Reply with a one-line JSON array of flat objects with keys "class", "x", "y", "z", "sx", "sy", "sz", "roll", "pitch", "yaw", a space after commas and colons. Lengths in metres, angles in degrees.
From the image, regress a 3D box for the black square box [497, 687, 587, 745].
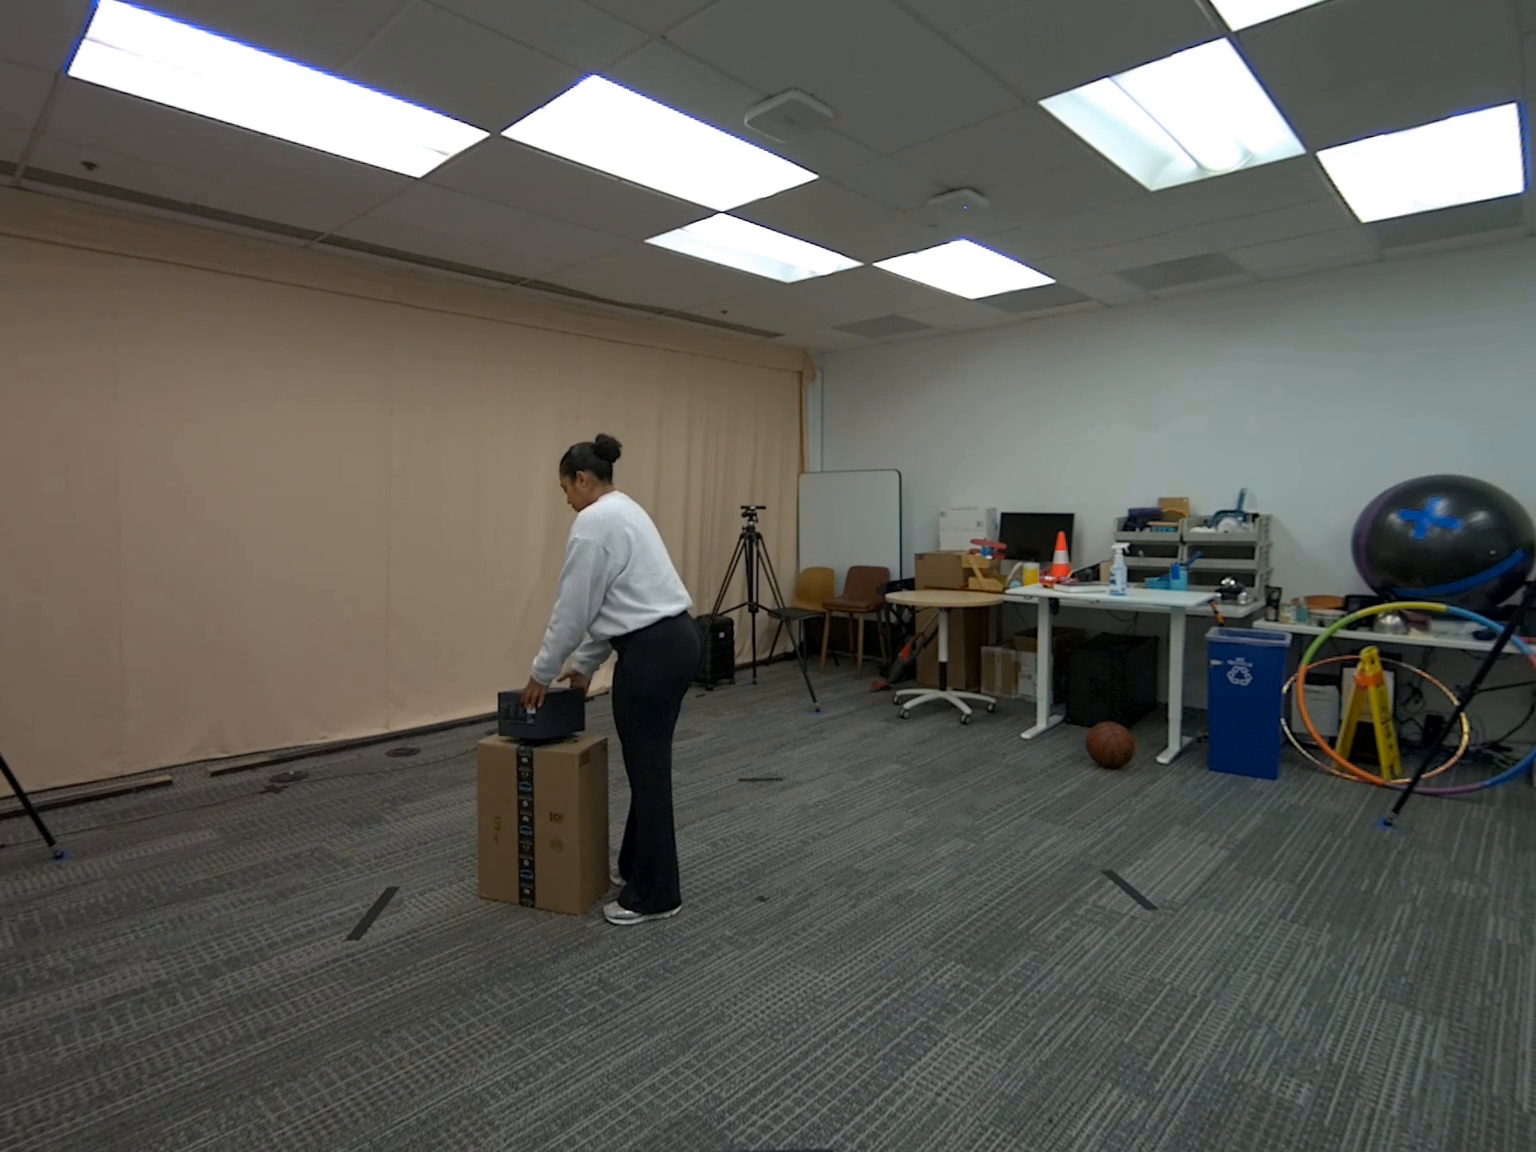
[{"class": "black square box", "x": -0.805, "y": 0.486, "z": 3.036, "sx": 0.223, "sy": 0.156, "sz": 0.221, "roll": -5, "pitch": -4, "yaw": 31}]
